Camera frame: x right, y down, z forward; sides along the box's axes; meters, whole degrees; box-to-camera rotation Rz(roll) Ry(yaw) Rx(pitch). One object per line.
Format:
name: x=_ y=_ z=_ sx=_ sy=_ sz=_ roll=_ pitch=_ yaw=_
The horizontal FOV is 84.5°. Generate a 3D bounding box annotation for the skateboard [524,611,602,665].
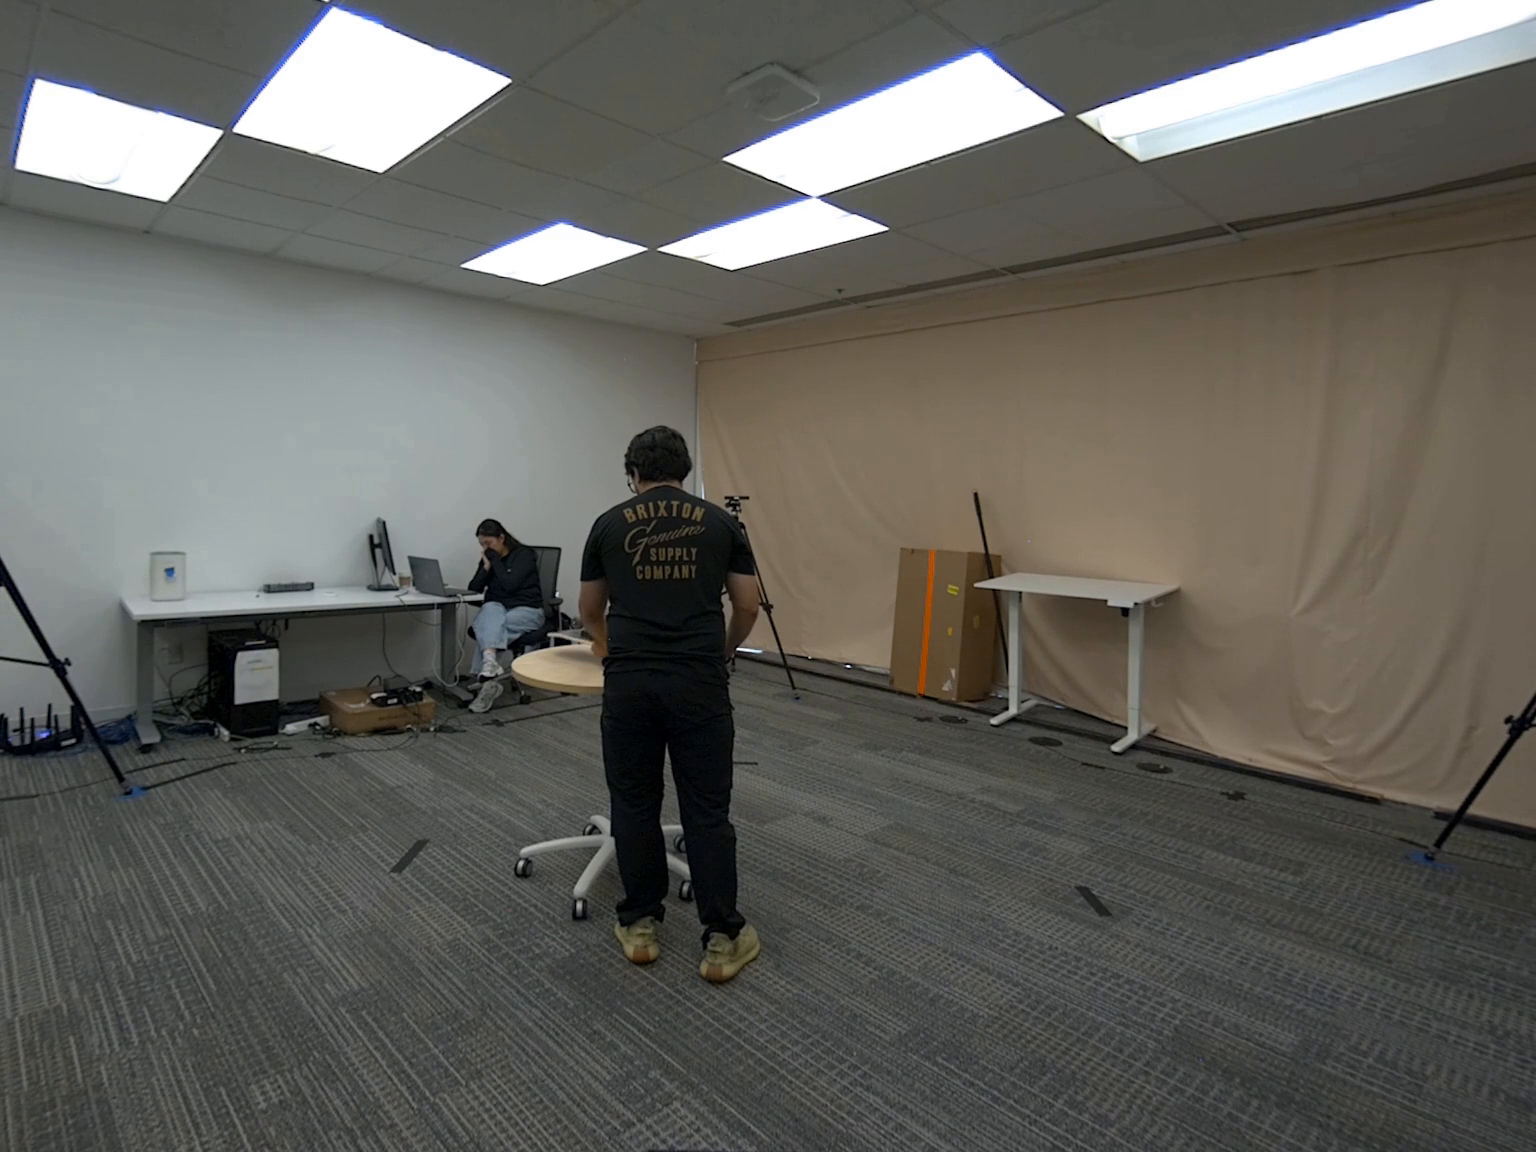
skateboard: x=-0.548 y=0.242 z=2.998 sx=0.806 sy=0.110 sz=0.188 roll=10 pitch=2 yaw=40
